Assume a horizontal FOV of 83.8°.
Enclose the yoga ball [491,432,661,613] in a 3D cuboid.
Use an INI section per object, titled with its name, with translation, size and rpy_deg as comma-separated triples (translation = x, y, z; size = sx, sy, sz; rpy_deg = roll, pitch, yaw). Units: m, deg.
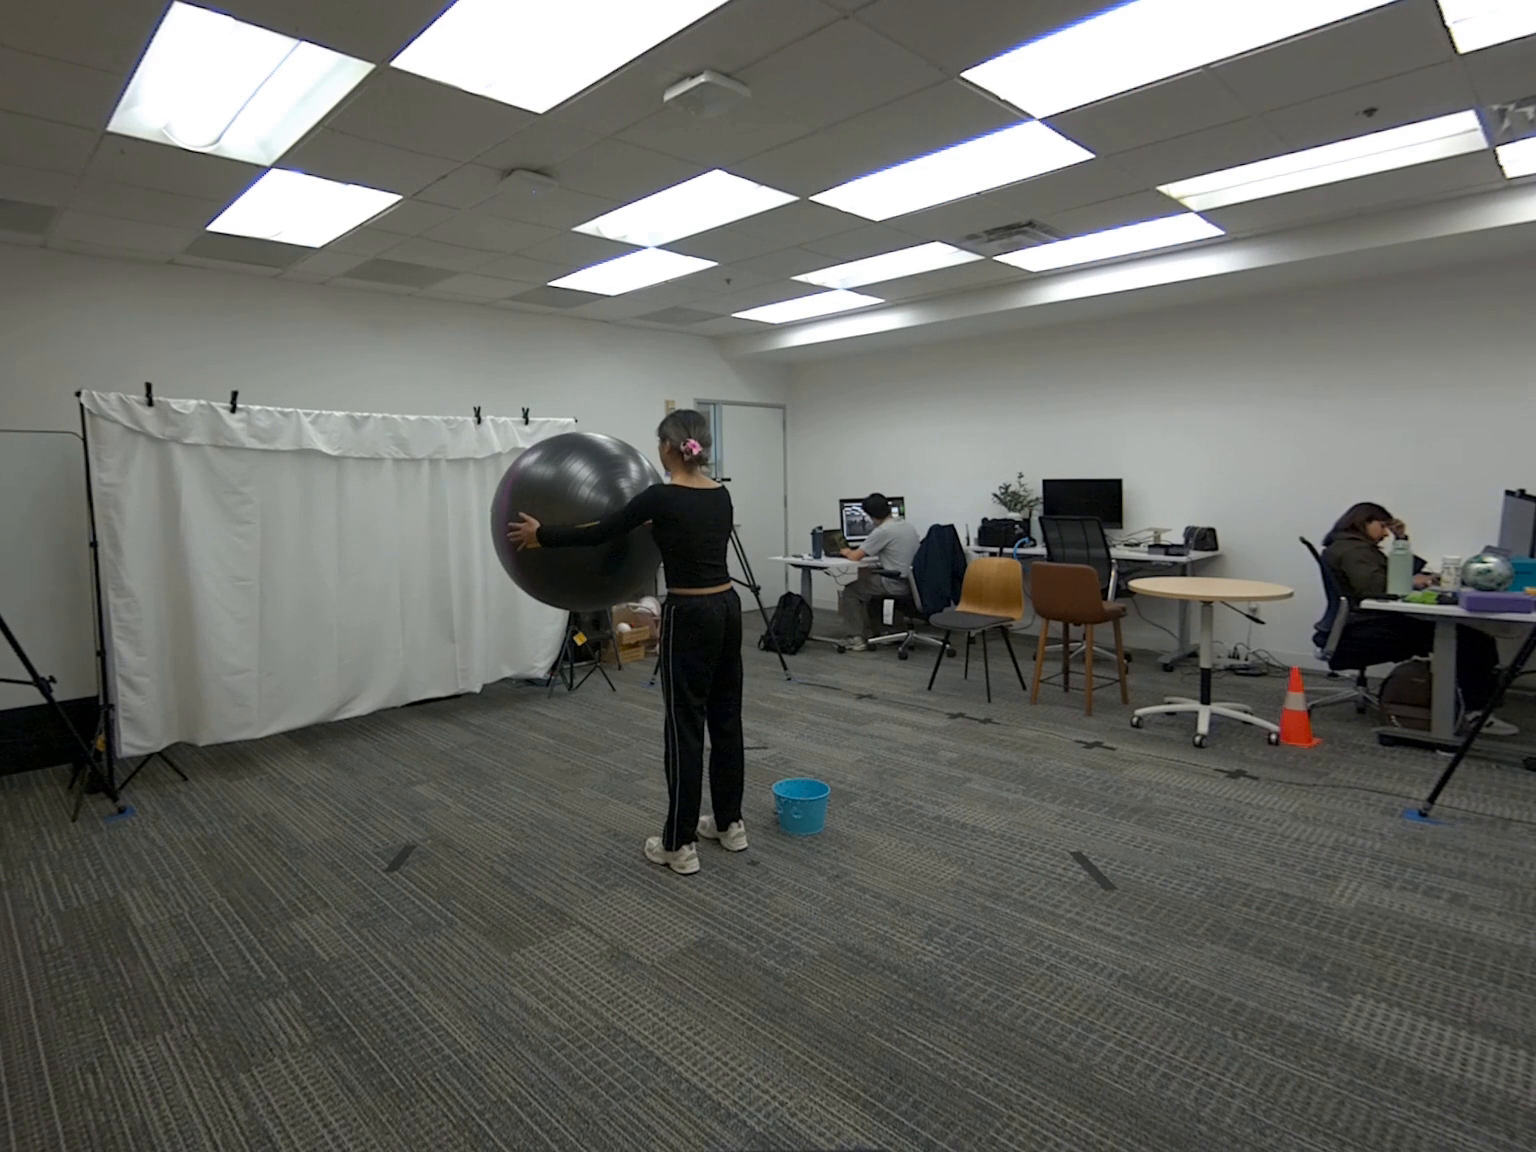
[yoga ball]
translation = -0.789, -0.217, 3.624
size = 0.757, 0.755, 0.762
rpy_deg = -1, 5, -2
